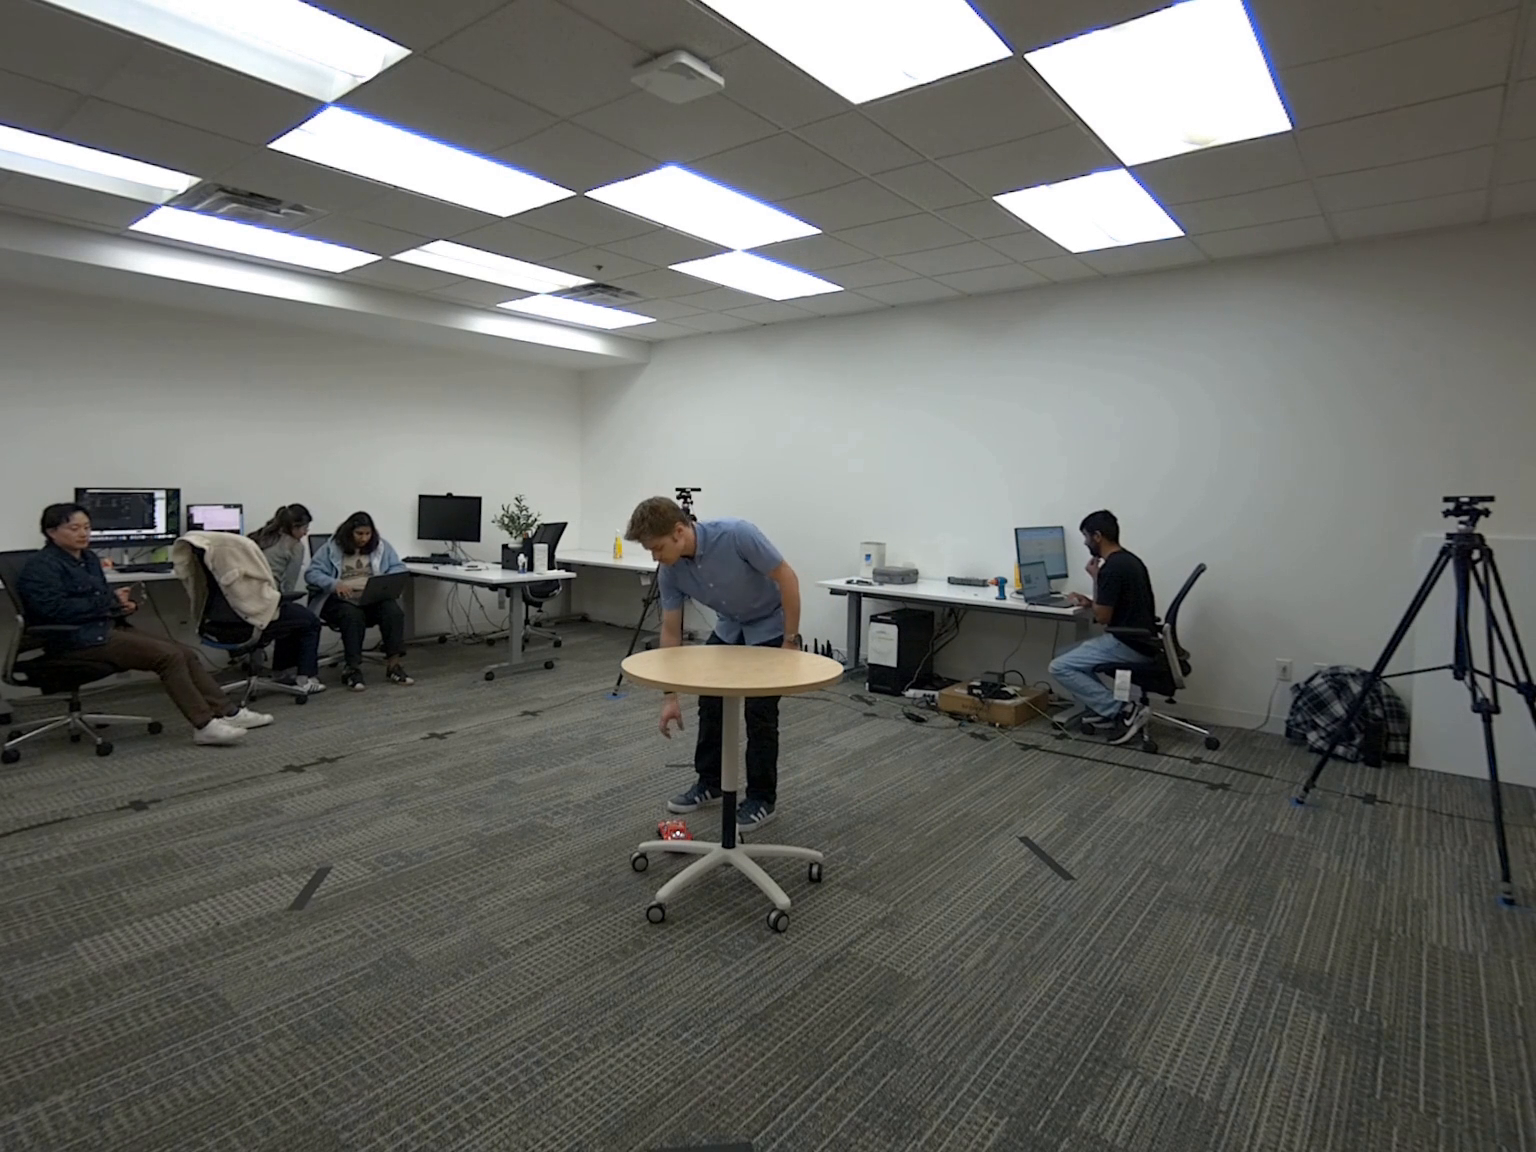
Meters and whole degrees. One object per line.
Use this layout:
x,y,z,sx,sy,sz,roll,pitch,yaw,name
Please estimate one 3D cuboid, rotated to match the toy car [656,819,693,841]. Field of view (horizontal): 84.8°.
-0.370,1.013,3.329,0.128,0.084,0.256,-1,-5,-14,toy car
